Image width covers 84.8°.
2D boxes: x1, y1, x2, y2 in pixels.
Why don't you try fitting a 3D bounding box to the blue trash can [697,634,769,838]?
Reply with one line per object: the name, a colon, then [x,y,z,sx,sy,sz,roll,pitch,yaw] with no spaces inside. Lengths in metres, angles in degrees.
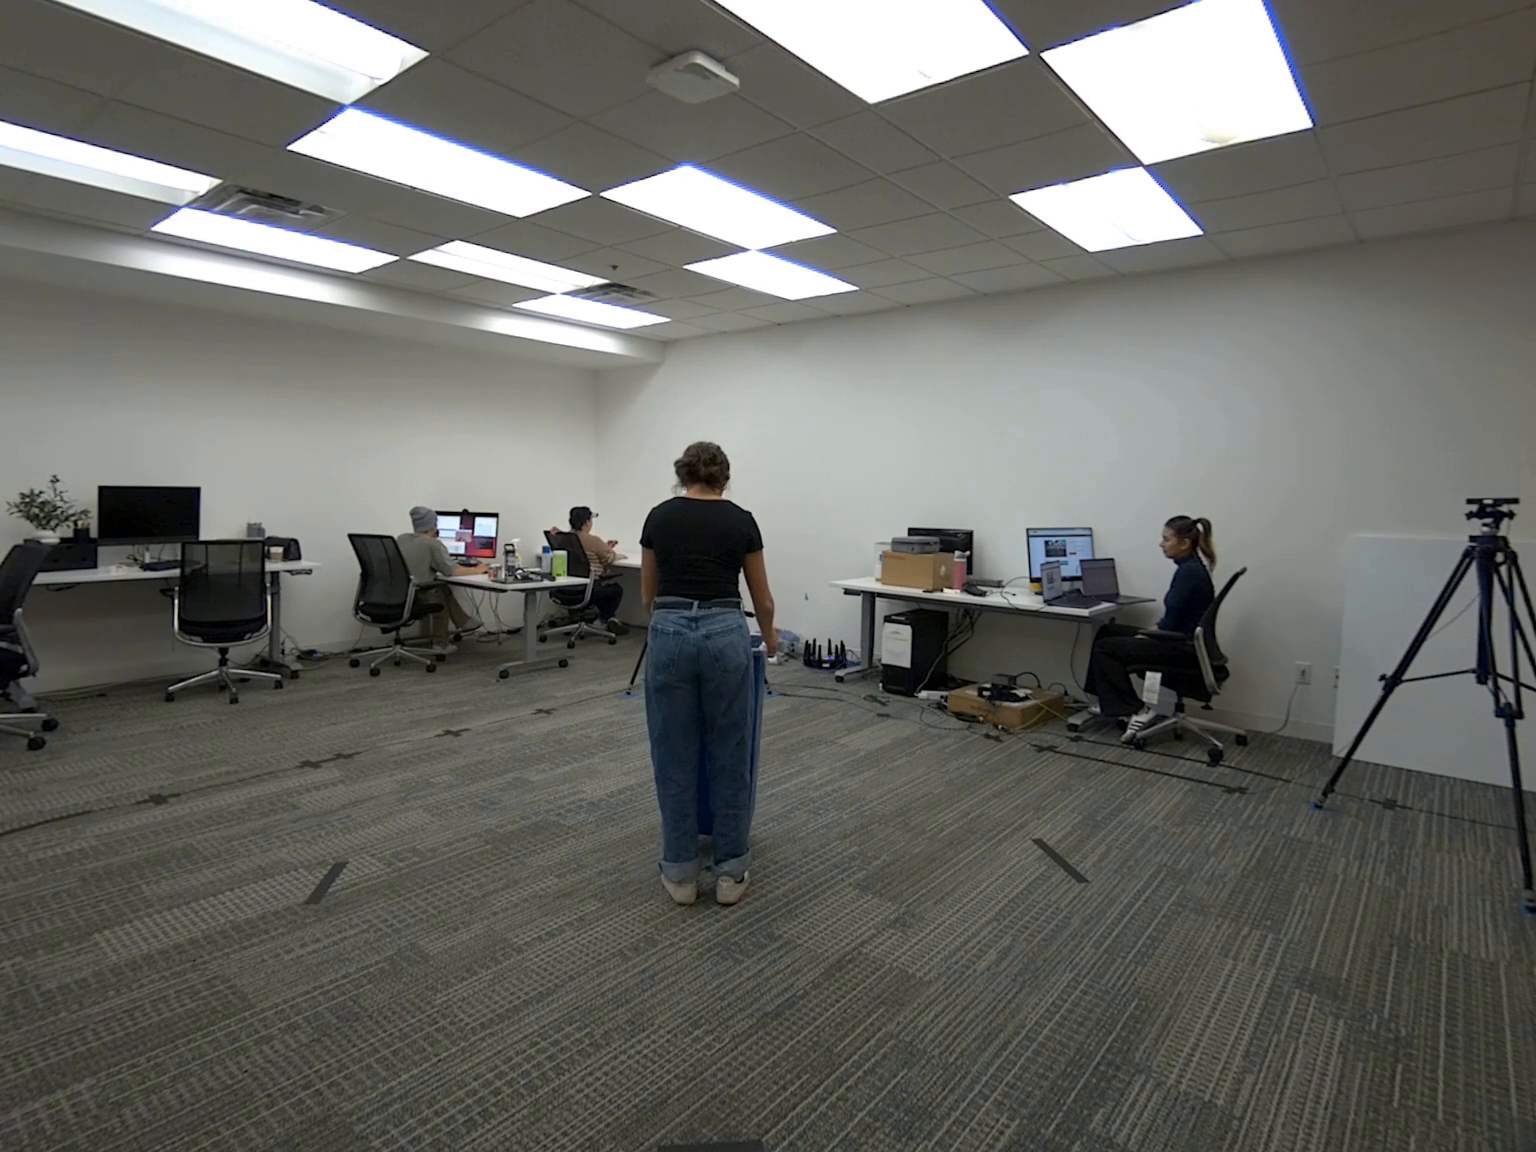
blue trash can: [-0.213,0.594,3.294,0.377,0.712,0.376,4,3,5]
